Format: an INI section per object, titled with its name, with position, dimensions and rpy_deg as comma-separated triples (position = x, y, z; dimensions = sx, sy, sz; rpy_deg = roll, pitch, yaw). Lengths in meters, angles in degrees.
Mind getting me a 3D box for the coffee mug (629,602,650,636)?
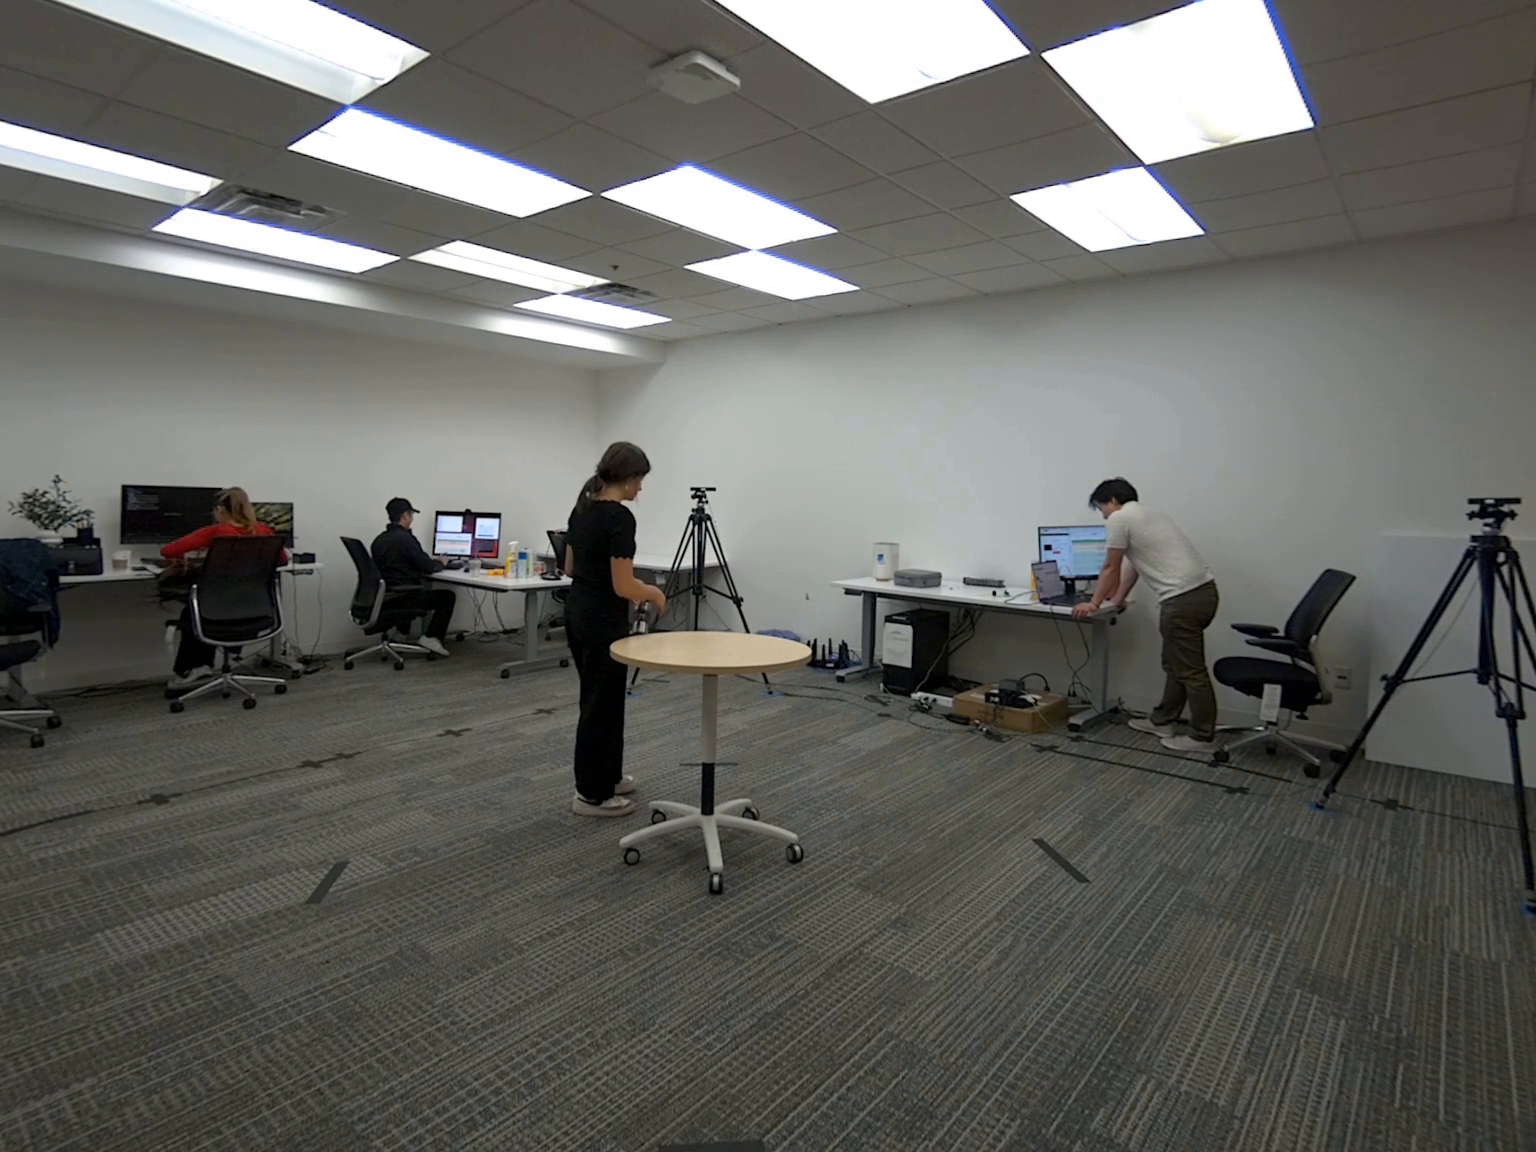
[coffee mug]
position = -0.605, 0.198, 3.866
dimensions = 0.124, 0.208, 0.084
rpy_deg = -13, -37, 23
